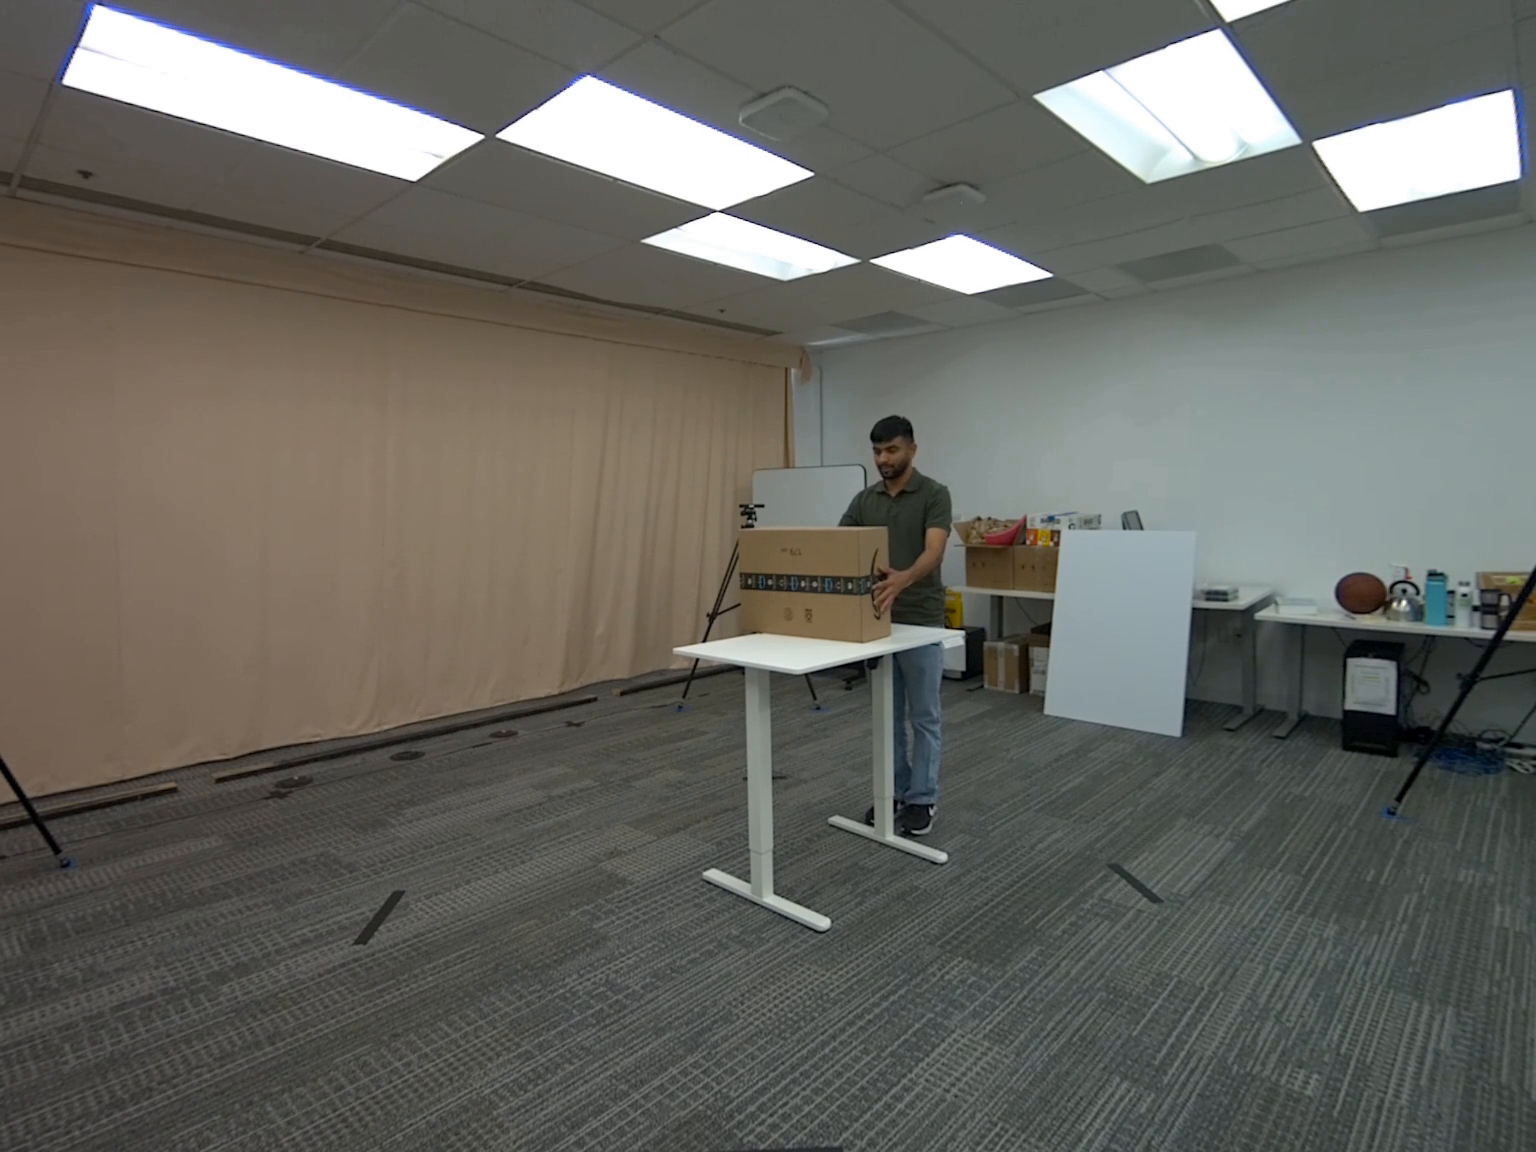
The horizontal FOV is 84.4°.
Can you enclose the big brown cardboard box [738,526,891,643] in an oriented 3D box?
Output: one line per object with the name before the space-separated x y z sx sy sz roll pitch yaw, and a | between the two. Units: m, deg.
big brown cardboard box | 0.176 0.022 3.307 0.608 0.416 0.226 3 6 40
